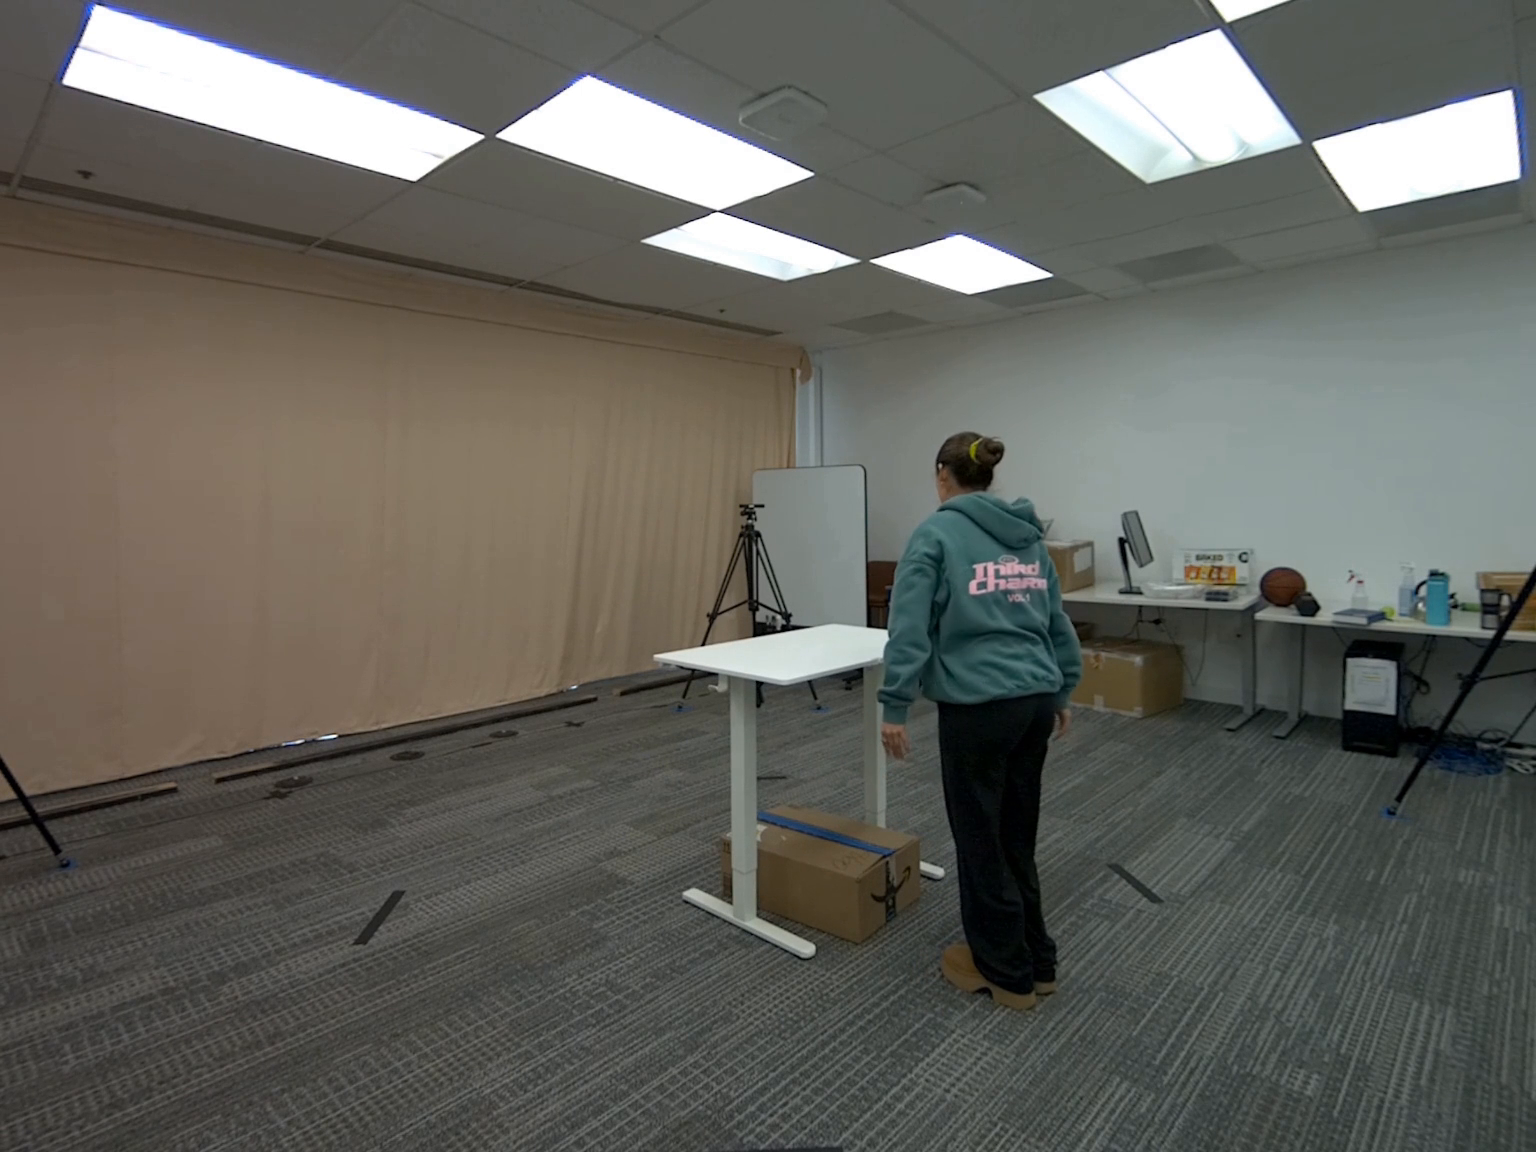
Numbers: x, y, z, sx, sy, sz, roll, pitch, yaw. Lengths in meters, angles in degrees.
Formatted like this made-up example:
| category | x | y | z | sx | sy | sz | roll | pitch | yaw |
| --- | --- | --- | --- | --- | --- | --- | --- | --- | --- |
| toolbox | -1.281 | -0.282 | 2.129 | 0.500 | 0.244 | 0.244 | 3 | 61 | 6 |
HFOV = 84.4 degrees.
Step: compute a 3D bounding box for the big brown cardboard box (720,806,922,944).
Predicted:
| category | x | y | z | sx | sy | sz | roll | pitch | yaw |
| --- | --- | --- | --- | --- | --- | --- | --- | --- | --- |
| big brown cardboard box | 0.182 | 1.020 | 2.982 | 0.608 | 0.232 | 0.405 | 4 | 7 | 38 |
